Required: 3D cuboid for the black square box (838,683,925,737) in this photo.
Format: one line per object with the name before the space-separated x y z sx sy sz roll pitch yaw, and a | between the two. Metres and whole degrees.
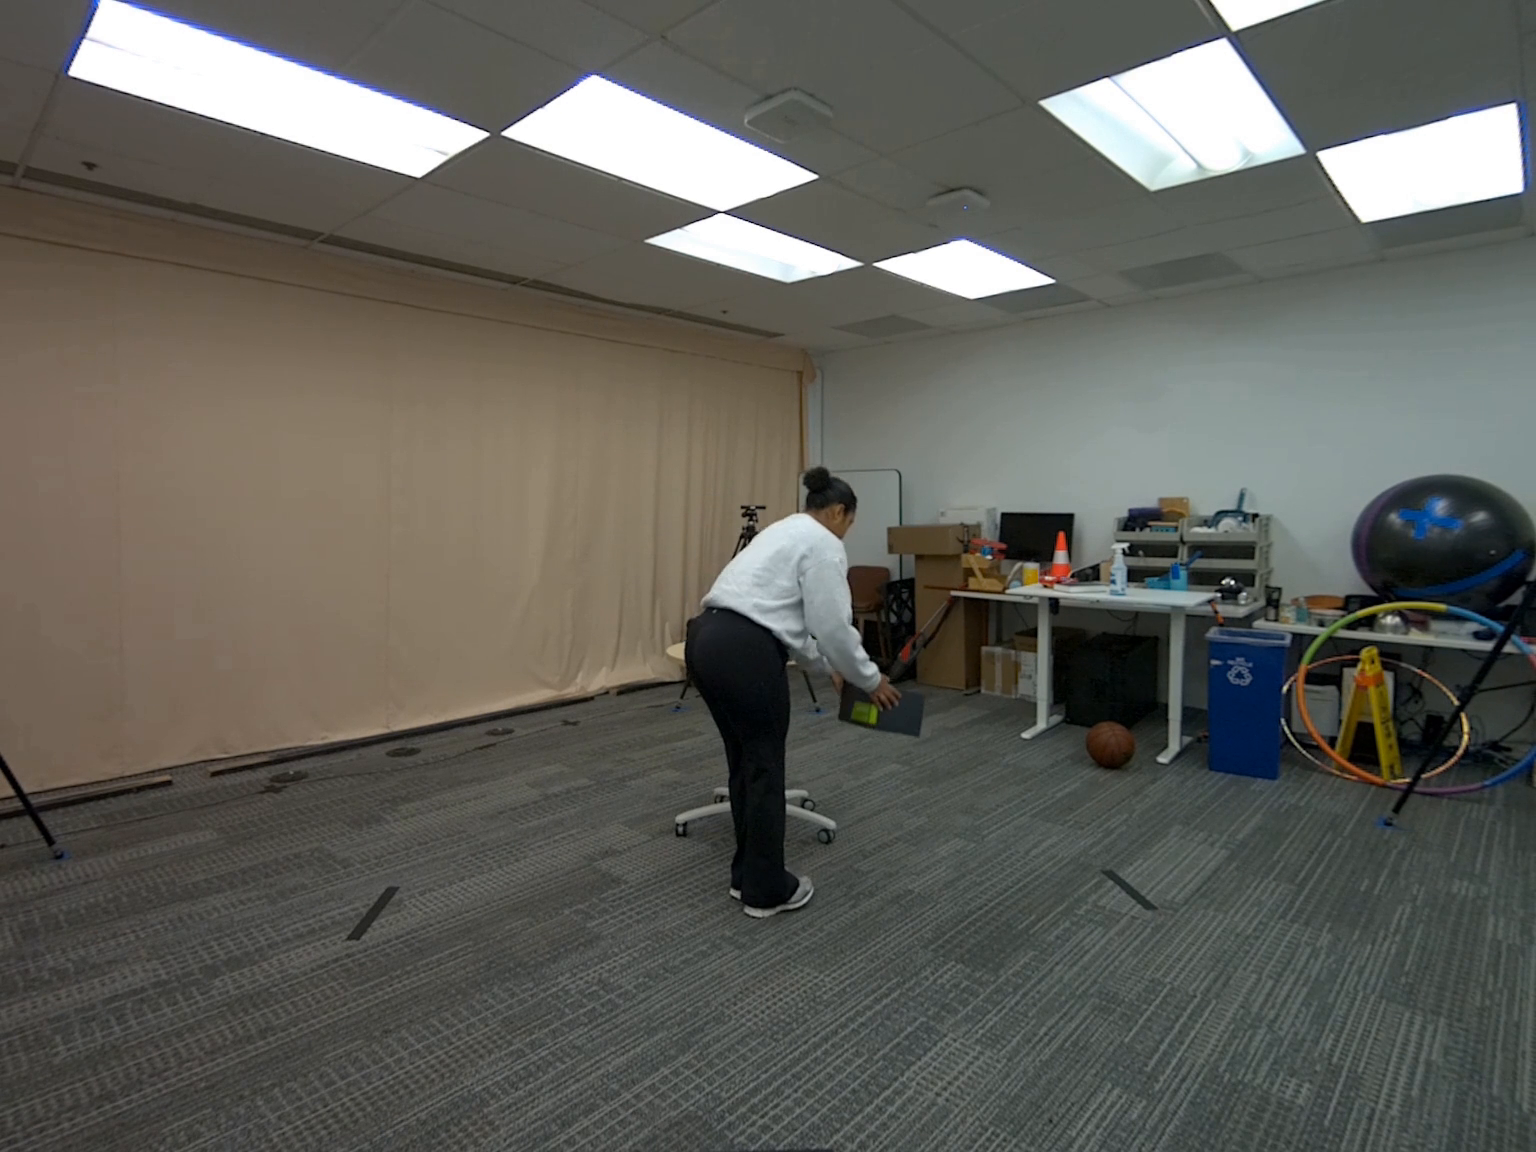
black square box | 0.421 0.471 3.094 0.212 0.156 0.232 10 -6 -21
